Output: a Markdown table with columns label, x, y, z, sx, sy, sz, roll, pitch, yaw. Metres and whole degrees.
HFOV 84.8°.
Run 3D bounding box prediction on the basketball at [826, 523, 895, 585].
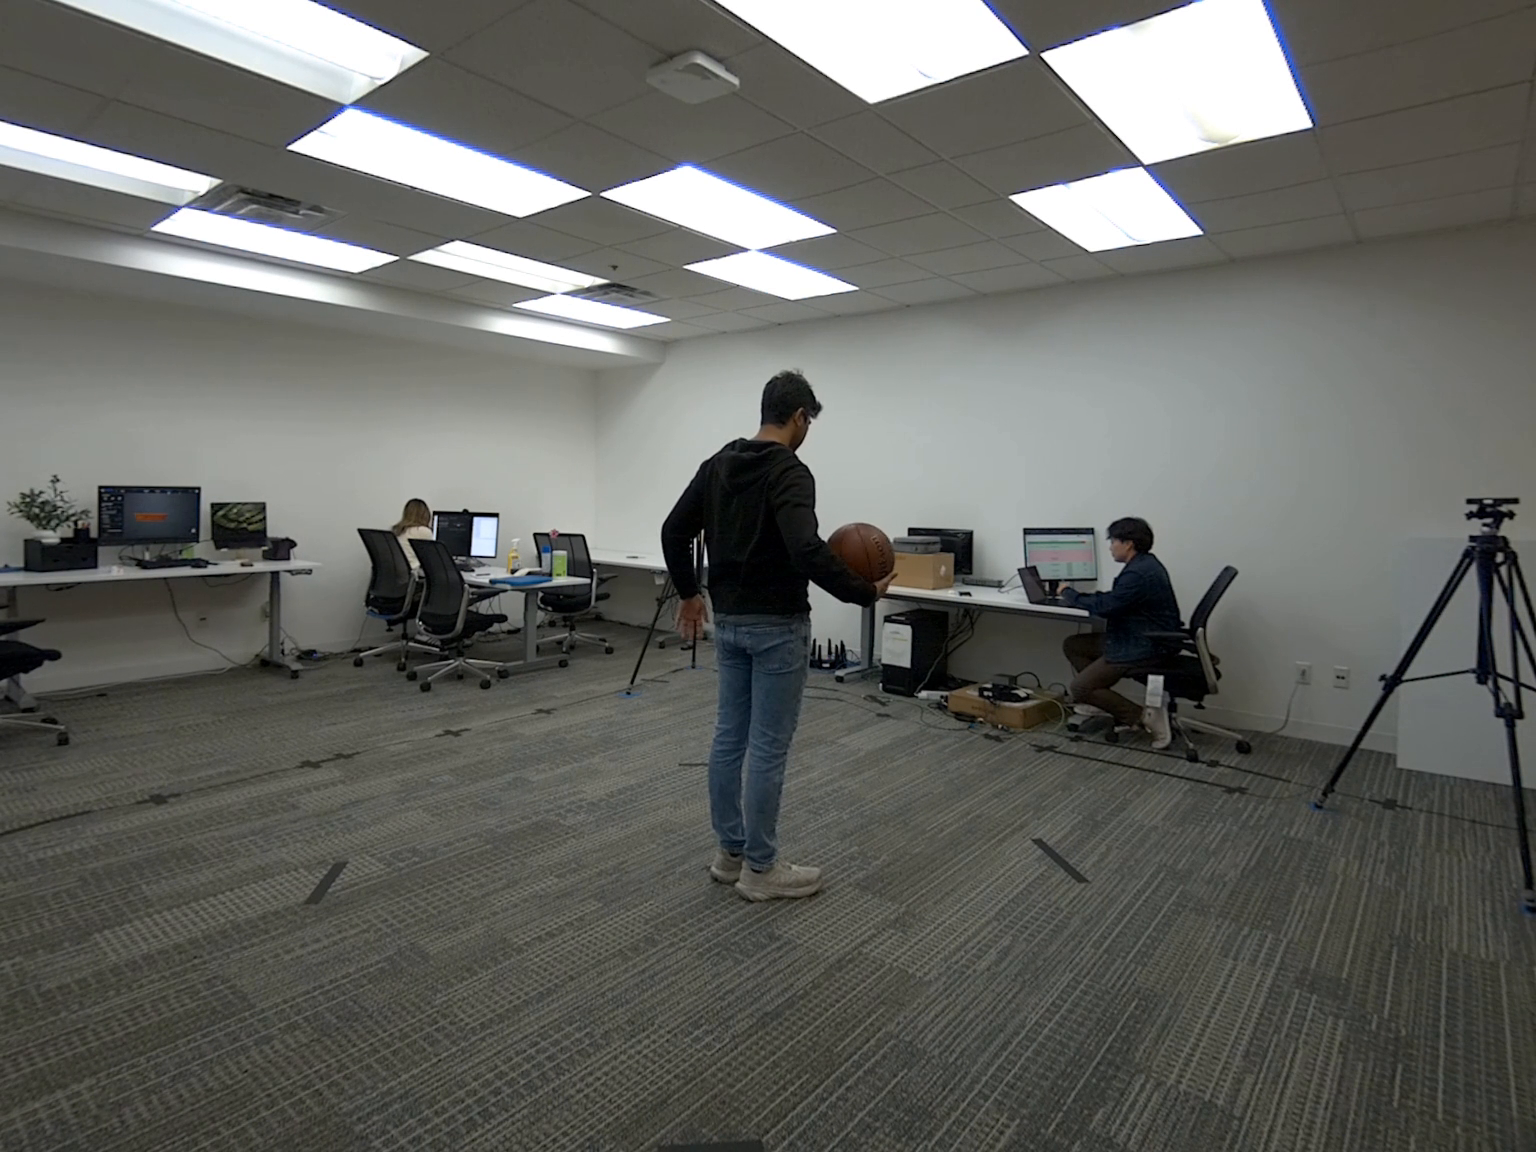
| label | x | y | z | sx | sy | sz | roll | pitch | yaw |
| --- | --- | --- | --- | --- | --- | --- | --- | --- | --- |
| basketball | 0.279 | -0.064 | 2.827 | 0.235 | 0.235 | 0.237 | 1 | 4 | -2 |
